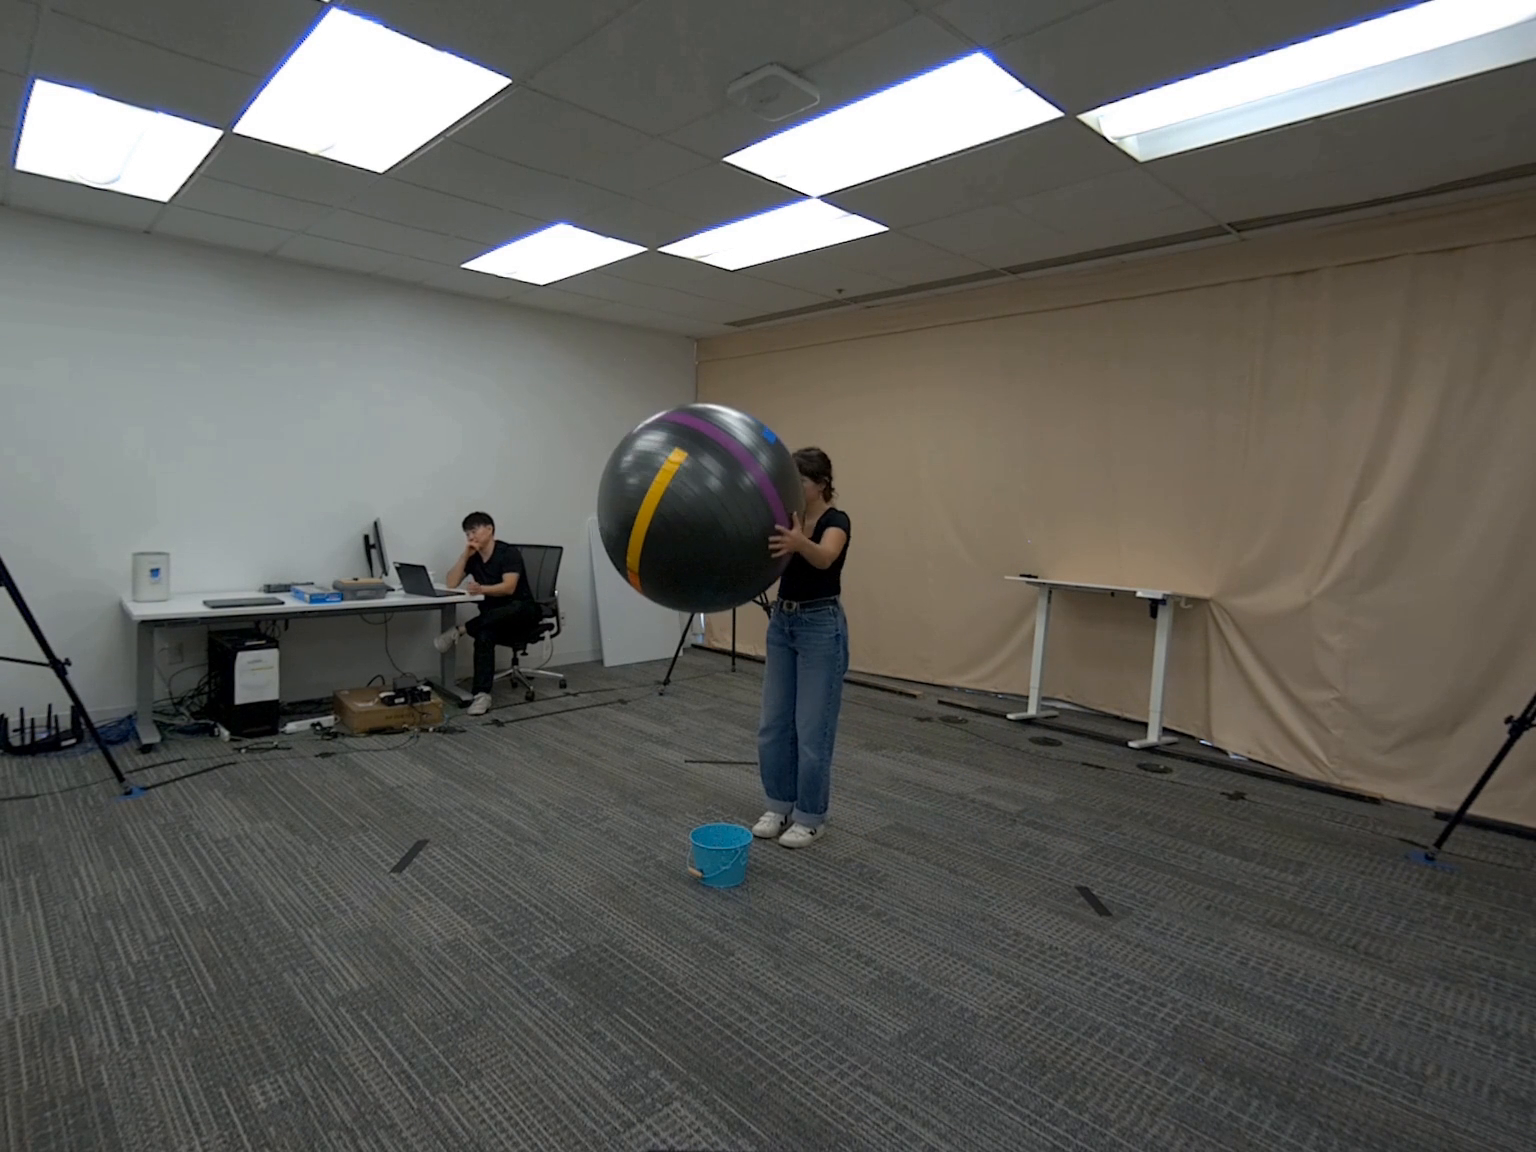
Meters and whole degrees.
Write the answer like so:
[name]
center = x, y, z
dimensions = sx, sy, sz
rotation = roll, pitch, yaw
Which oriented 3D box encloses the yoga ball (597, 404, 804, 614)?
[yoga ball]
center = -0.239, -0.235, 3.066
dimensions = 0.757, 0.756, 0.761
rotation = 1, 4, -1
